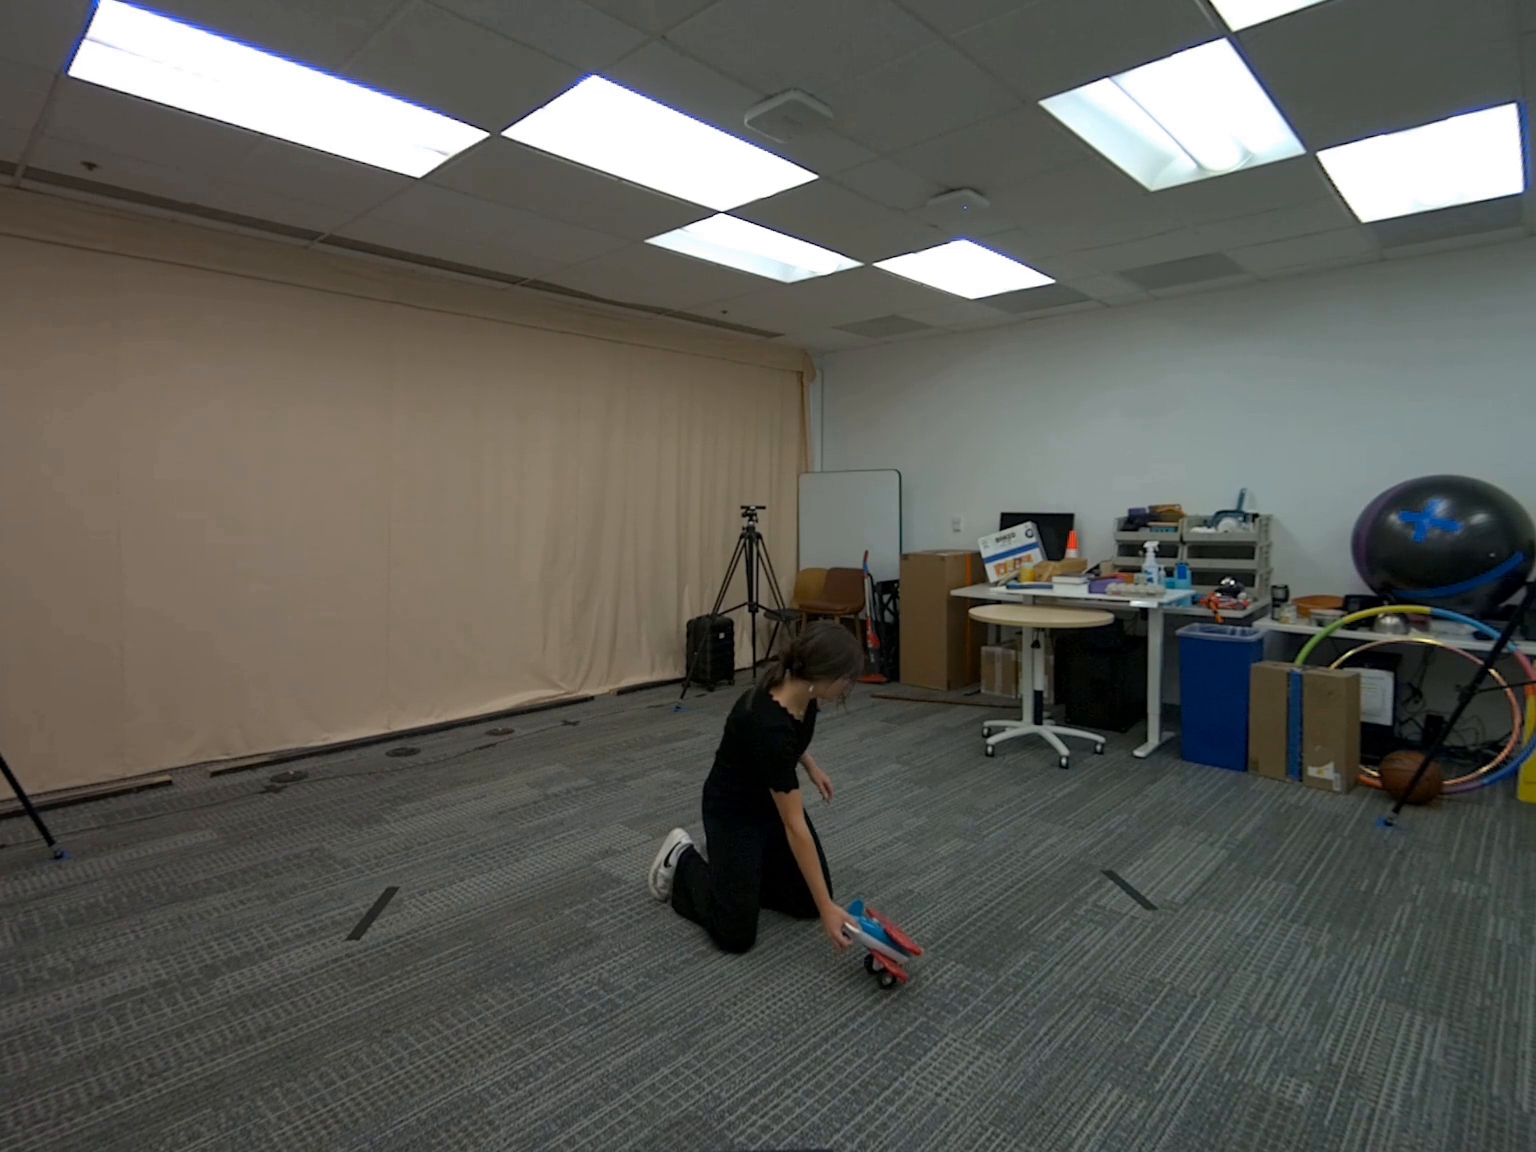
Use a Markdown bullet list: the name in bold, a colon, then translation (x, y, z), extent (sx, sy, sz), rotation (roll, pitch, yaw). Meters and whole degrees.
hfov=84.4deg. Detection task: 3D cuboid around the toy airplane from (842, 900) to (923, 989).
- **toy airplane**: translation (0.330, 1.073, 2.435), extent (0.260, 0.156, 0.251), rotation (33, -18, 45)
